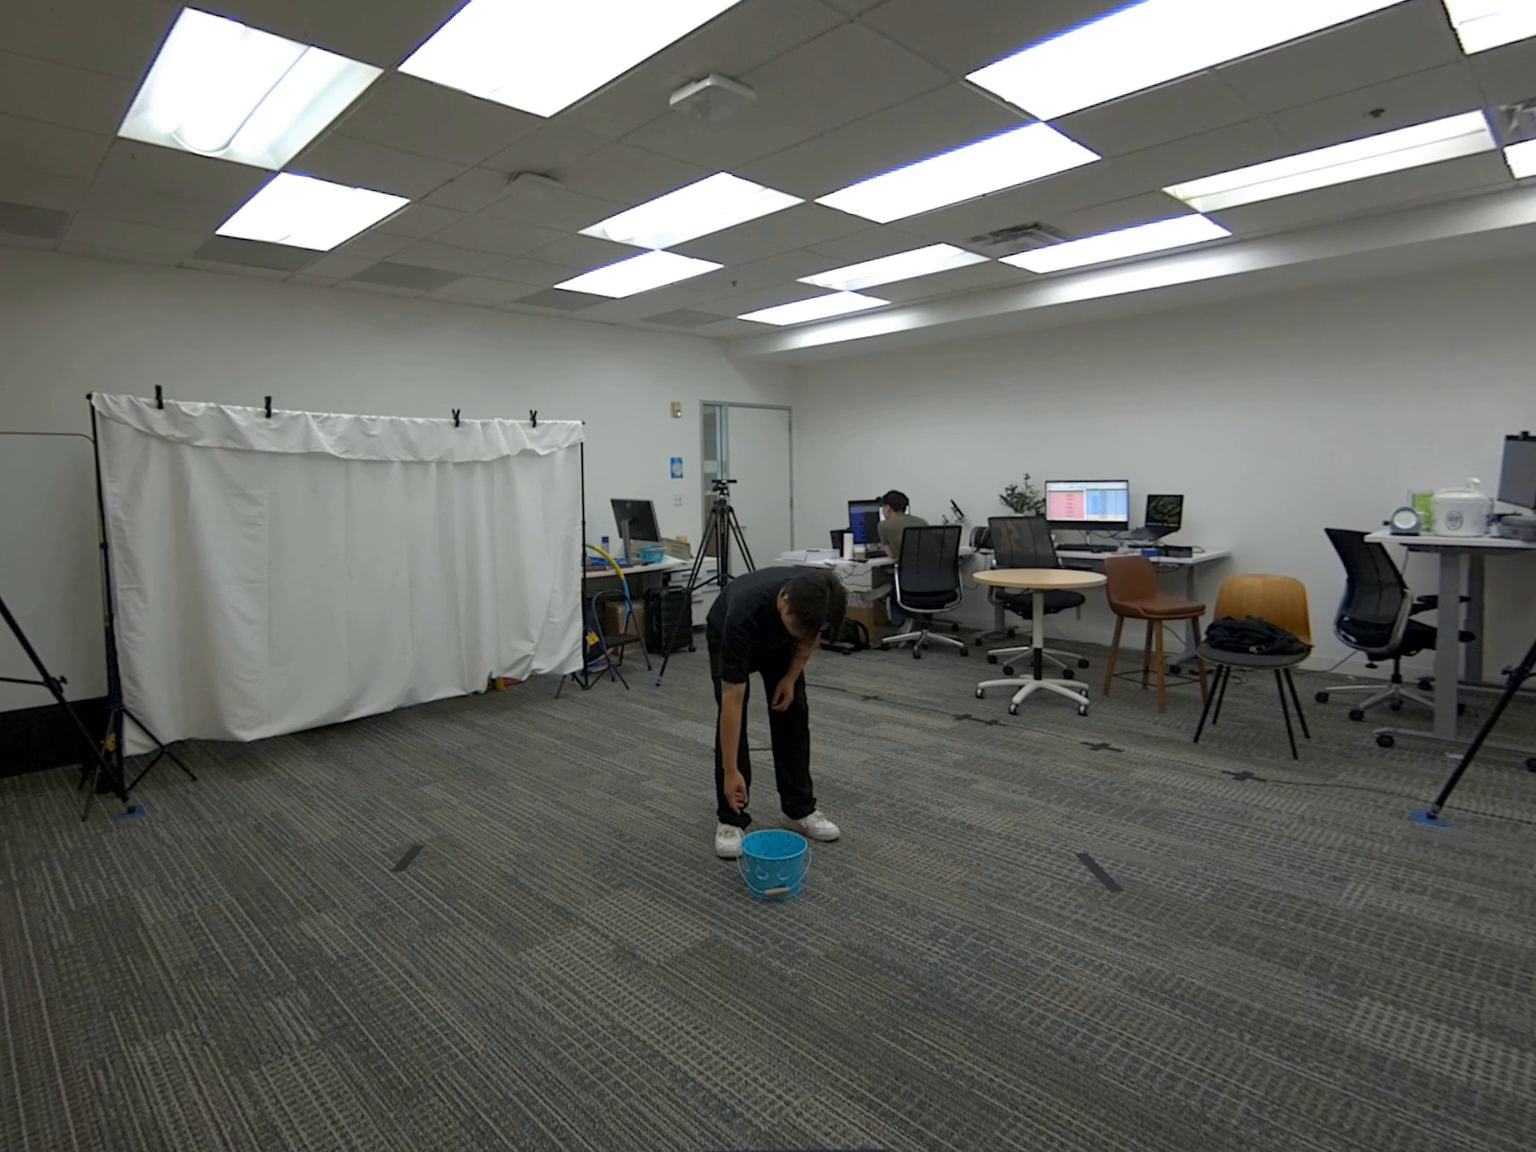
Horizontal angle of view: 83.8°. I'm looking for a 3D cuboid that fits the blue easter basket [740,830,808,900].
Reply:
[{"bbox_3d":[0.018,0.990,2.921,0.243,0.155,0.245,-1,6,-2],"label":"blue easter basket"}]
